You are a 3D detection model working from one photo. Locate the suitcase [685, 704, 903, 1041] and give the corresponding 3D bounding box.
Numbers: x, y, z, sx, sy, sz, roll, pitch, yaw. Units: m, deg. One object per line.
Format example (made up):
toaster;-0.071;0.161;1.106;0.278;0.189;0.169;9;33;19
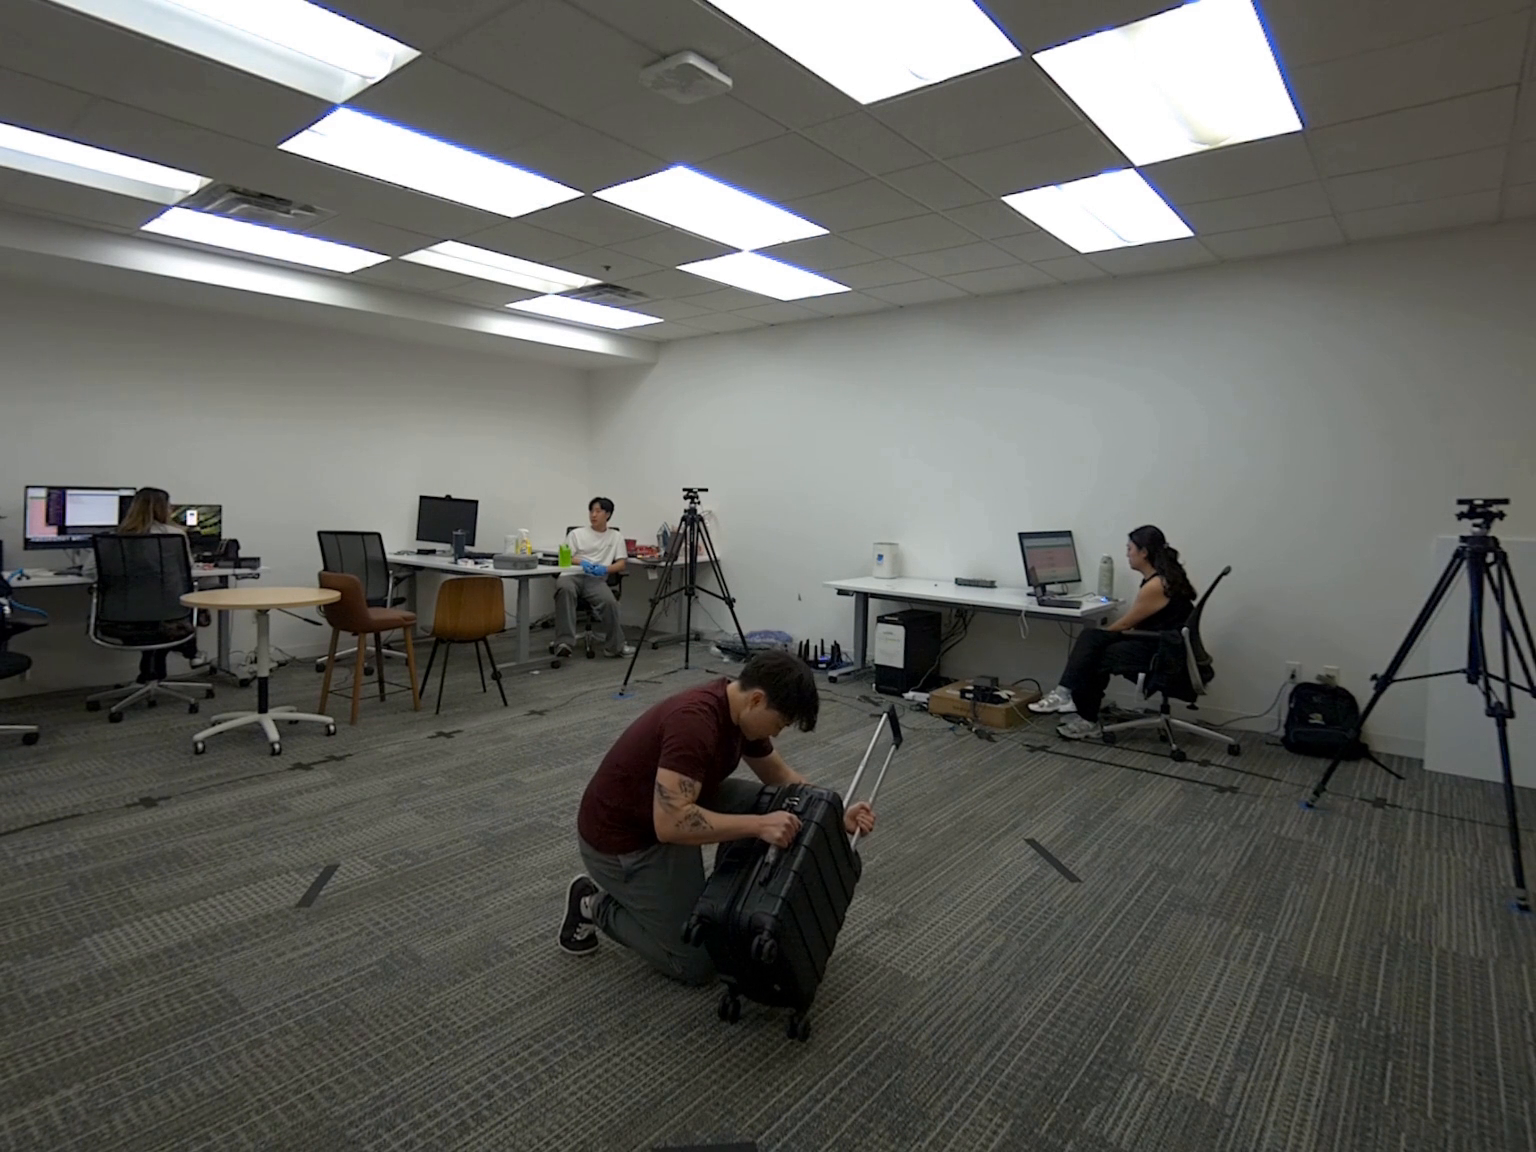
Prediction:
suitcase;0.118;0.738;2.438;0.263;0.373;0.982;-6;30;30
